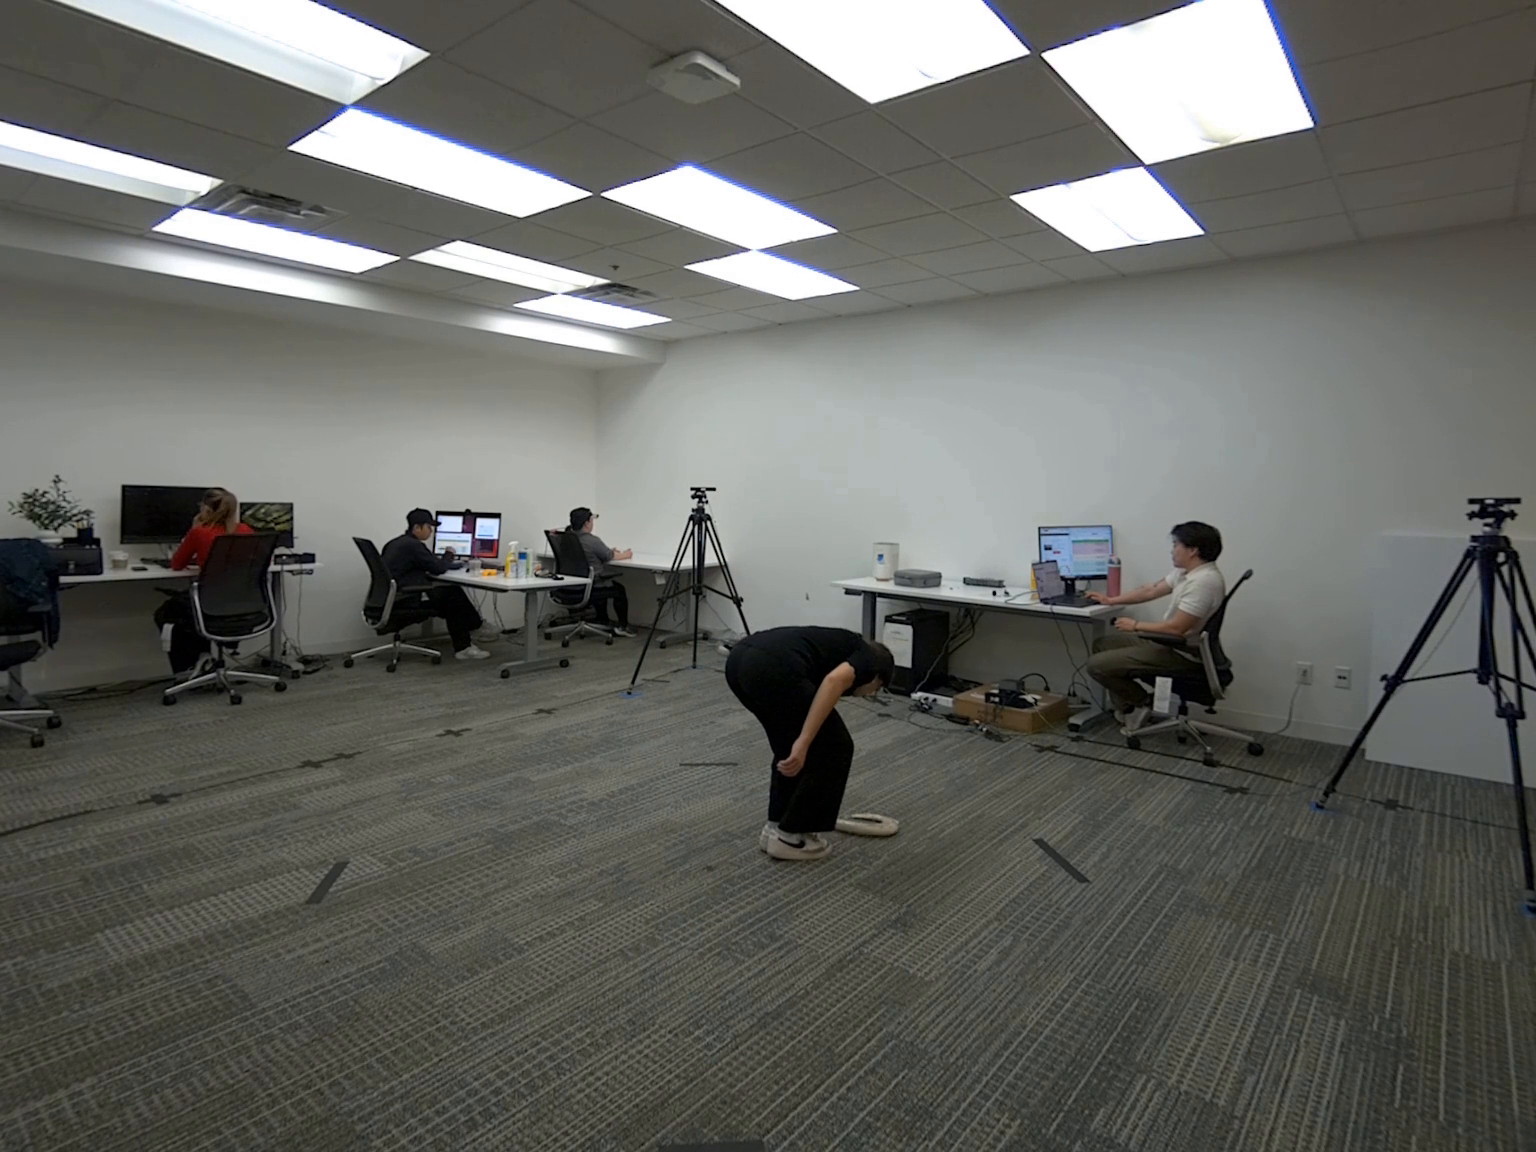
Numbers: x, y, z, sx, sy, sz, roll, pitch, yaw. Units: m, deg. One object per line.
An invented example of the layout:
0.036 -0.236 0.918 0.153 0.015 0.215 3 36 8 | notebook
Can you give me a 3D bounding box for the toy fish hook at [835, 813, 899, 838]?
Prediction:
0.282 1.017 3.546 0.513 0.048 0.221 3 -2 10 | toy fish hook
